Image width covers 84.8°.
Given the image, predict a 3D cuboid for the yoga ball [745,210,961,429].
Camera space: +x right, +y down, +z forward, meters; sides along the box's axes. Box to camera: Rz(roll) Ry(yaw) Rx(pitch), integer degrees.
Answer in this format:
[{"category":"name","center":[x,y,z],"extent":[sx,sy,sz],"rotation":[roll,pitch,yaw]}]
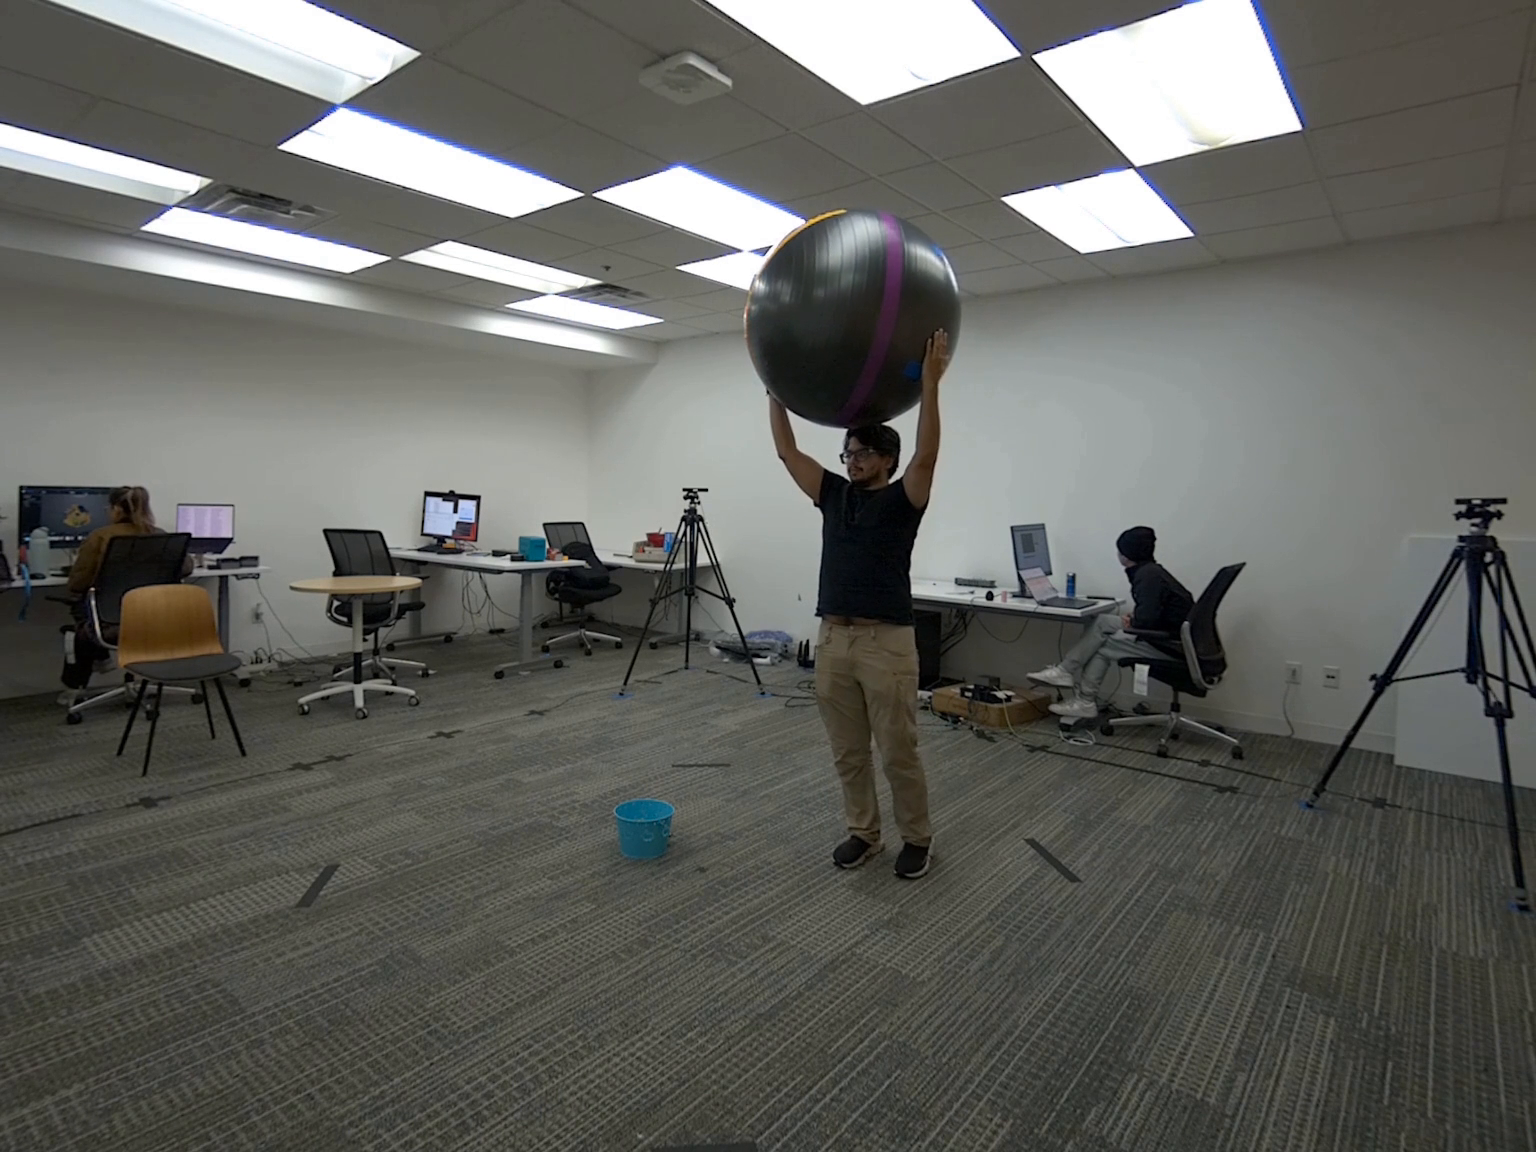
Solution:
[{"category":"yoga ball","center":[0.284,-0.903,3.025],"extent":[0.757,0.756,0.761],"rotation":[1,4,-2]}]
